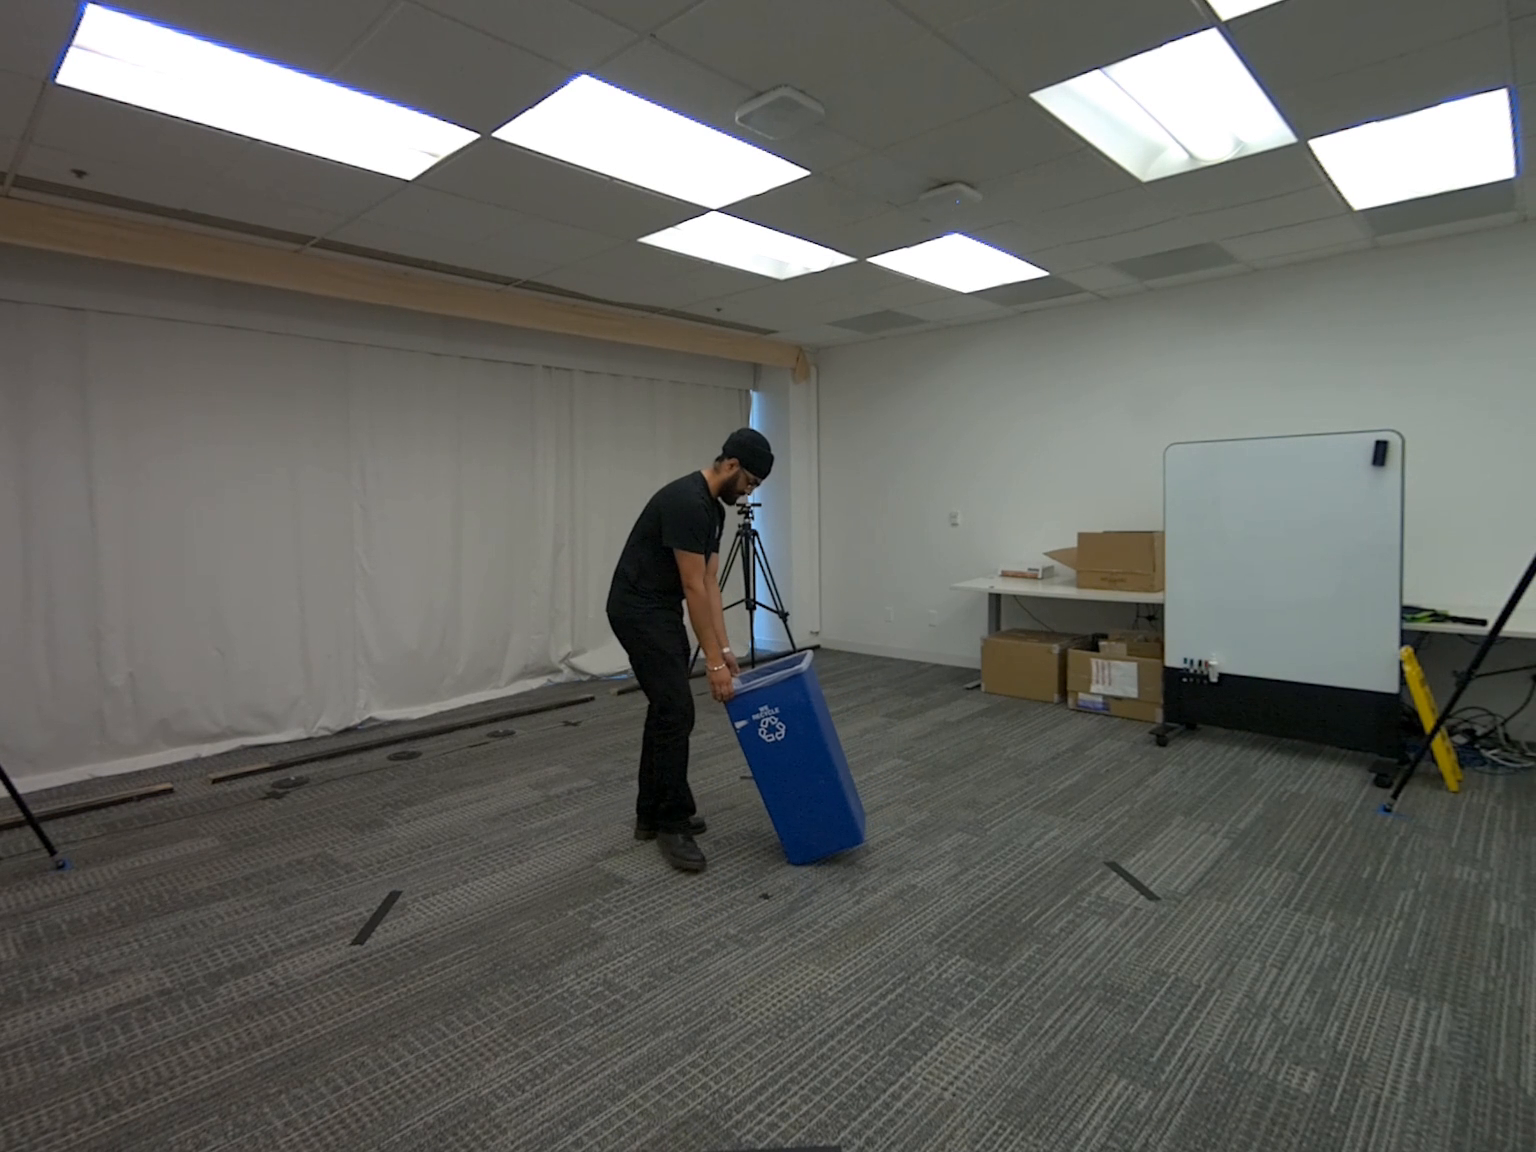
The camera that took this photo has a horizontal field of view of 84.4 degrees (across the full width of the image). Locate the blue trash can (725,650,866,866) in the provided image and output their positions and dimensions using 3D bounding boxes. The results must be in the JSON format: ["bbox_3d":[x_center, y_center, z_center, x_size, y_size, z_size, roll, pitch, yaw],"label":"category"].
[{"bbox_3d":[0.113,0.715,3.338,0.377,0.714,0.374,-20,-1,9],"label":"blue trash can"}]
